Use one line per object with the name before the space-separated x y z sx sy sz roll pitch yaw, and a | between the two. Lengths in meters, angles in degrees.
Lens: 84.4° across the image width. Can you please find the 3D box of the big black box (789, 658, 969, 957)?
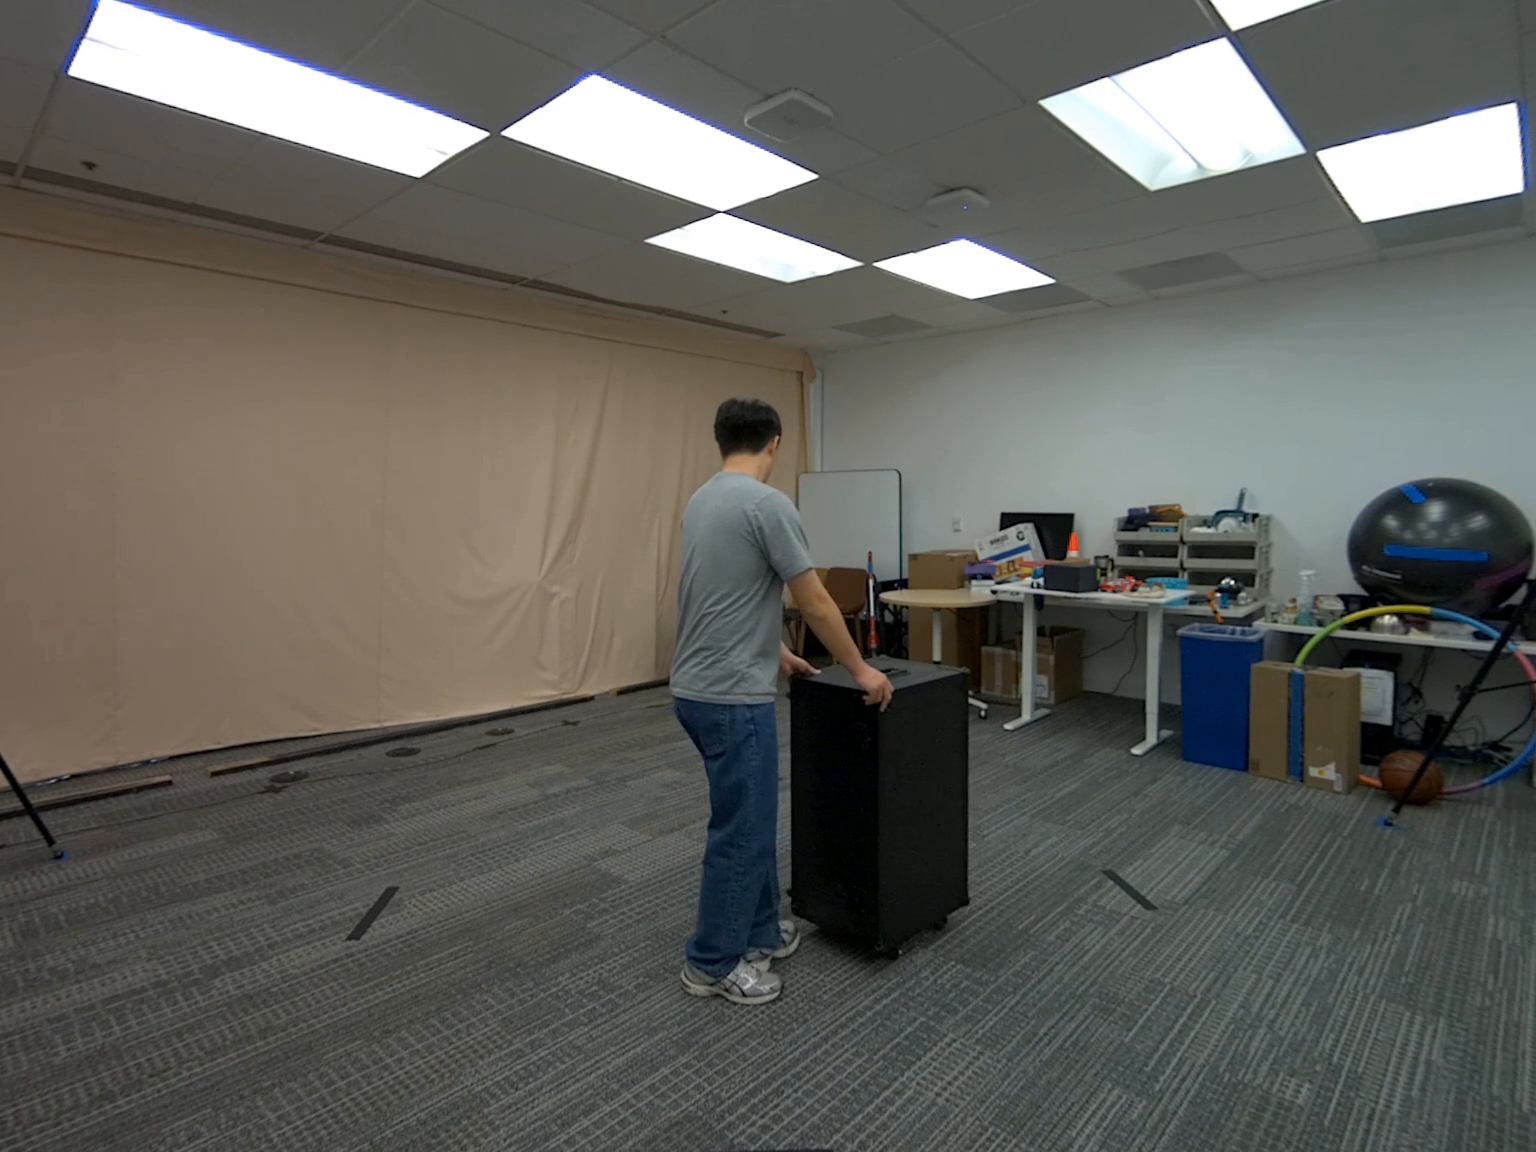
big black box | 0.366 0.740 2.743 0.505 0.859 0.409 -4 5 -43
